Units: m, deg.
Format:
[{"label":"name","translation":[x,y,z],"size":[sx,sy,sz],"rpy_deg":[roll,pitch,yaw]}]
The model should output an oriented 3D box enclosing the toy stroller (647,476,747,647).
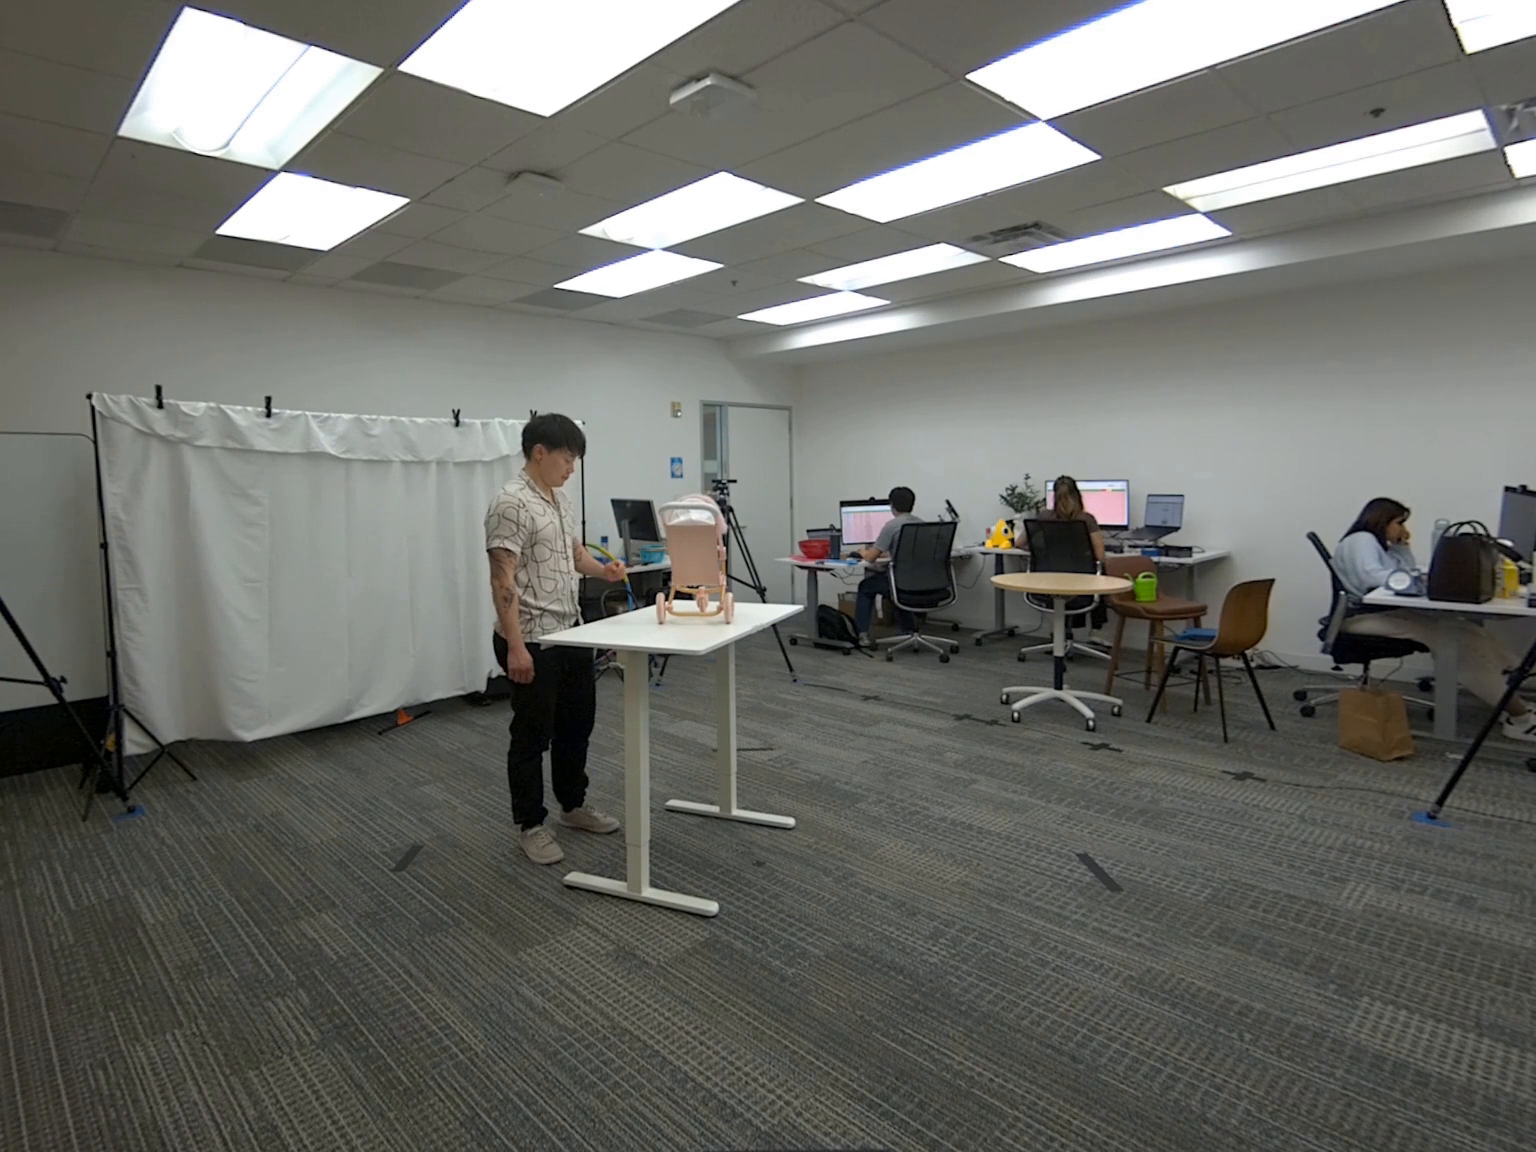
[{"label":"toy stroller","translation":[-0.251,-0.065,3.154],"size":[0.284,0.526,0.344],"rpy_deg":[1,19,7]}]
